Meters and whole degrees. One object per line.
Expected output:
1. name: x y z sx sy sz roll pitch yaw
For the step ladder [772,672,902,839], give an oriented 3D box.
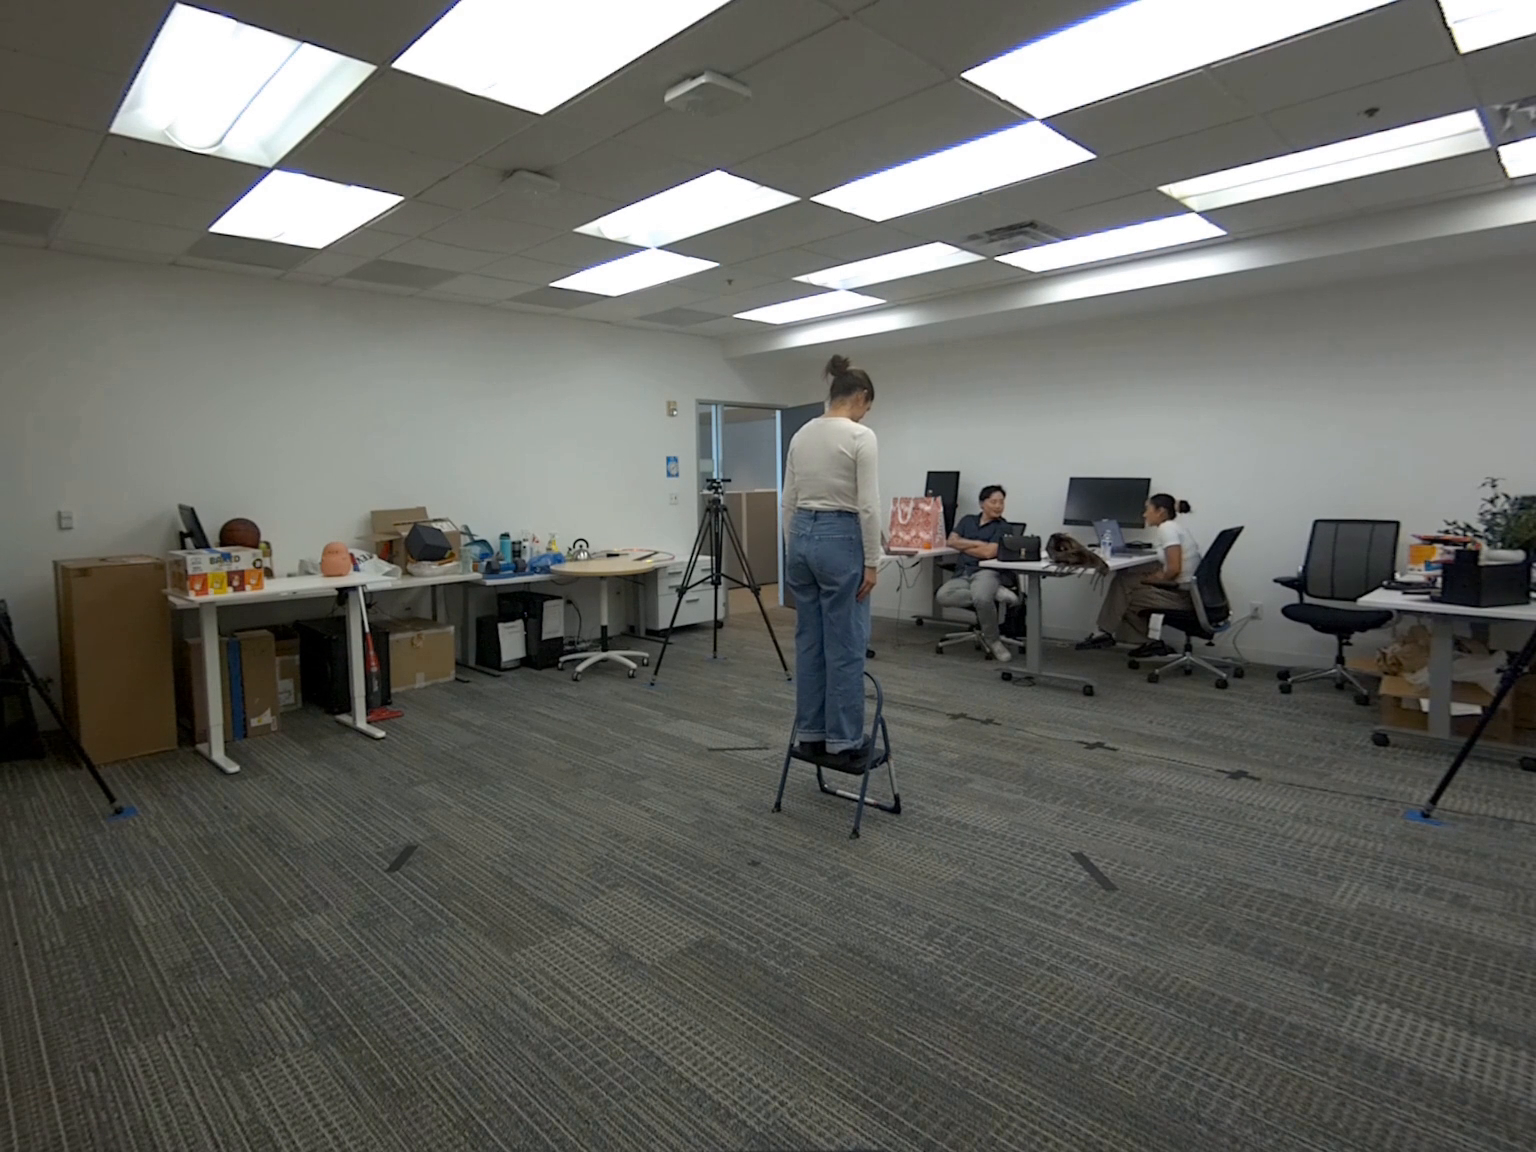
1. step ladder: 0.289 0.688 3.551 0.444 0.604 0.340 4 6 42
